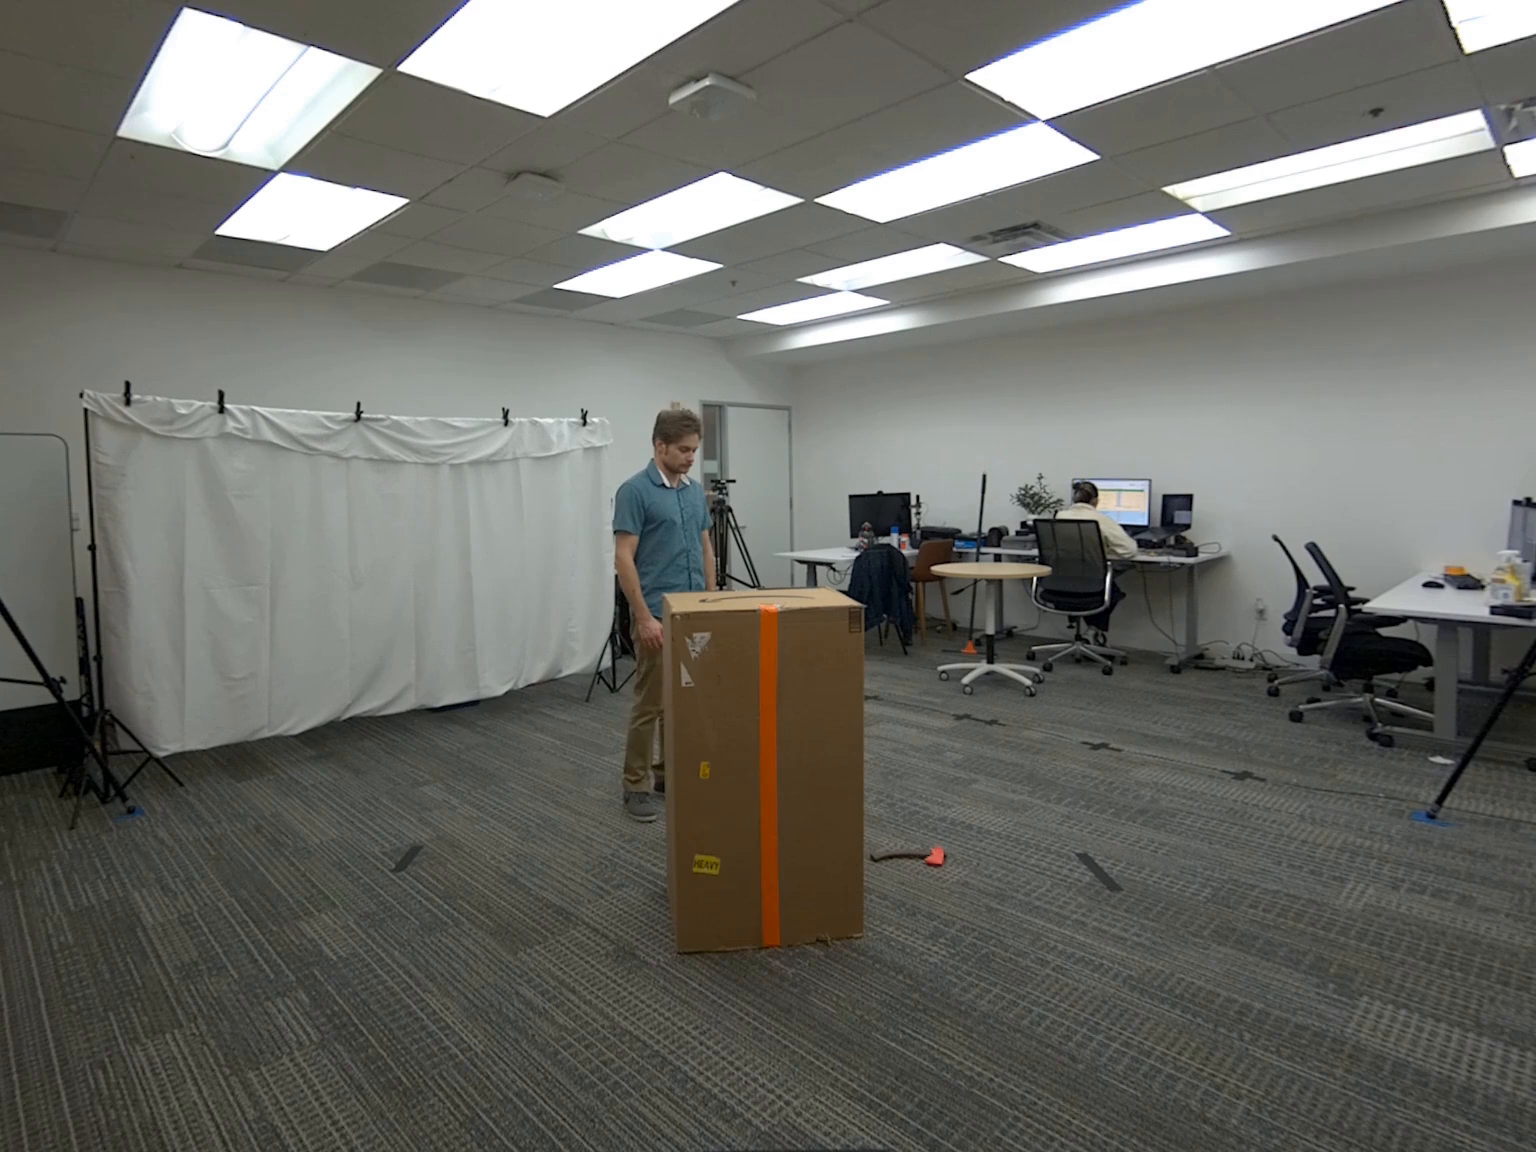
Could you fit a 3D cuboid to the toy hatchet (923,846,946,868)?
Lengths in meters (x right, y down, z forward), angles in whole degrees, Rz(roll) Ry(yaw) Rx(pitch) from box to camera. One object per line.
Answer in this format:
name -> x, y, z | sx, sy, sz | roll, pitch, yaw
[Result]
toy hatchet -> 0.519, 1.025, 3.097 | 0.268, 0.029, 0.133 | -5, 10, -9
